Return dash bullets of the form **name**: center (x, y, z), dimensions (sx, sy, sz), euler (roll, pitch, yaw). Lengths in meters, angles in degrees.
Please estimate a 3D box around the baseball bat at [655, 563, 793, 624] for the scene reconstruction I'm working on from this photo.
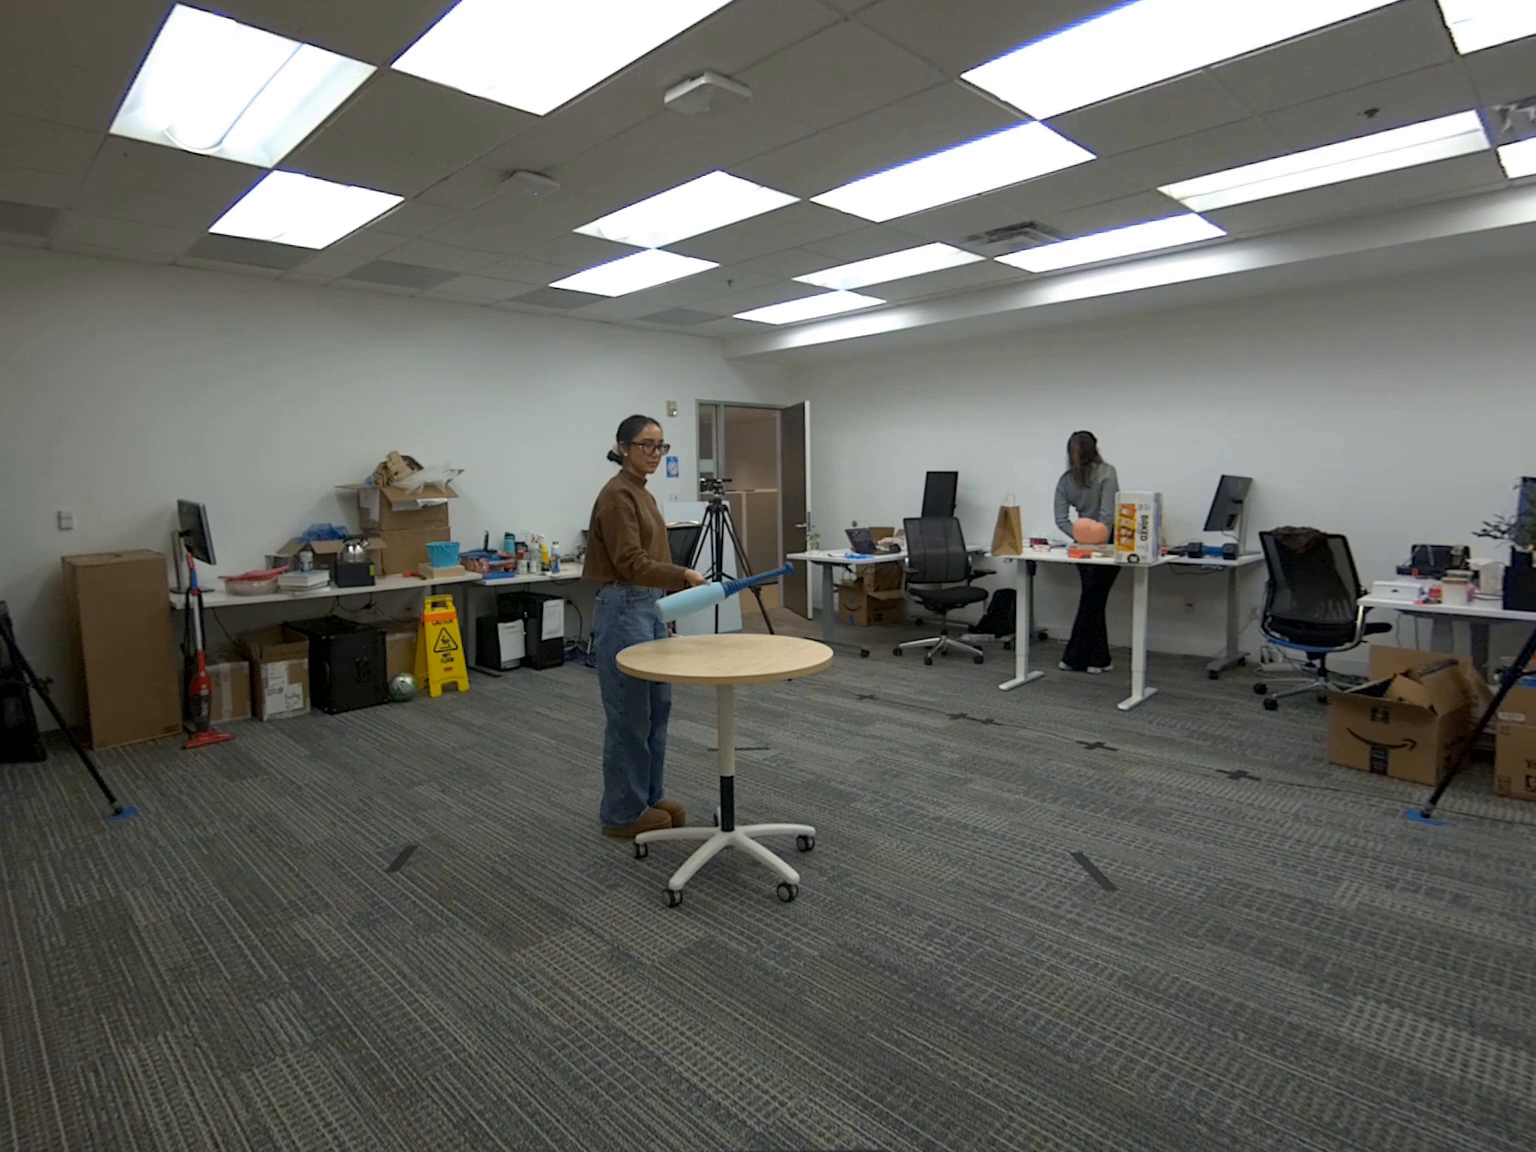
- **baseball bat**: center (-0.150, 0.055, 3.091), dimensions (0.537, 0.088, 0.091), euler (-16, 9, -16)
